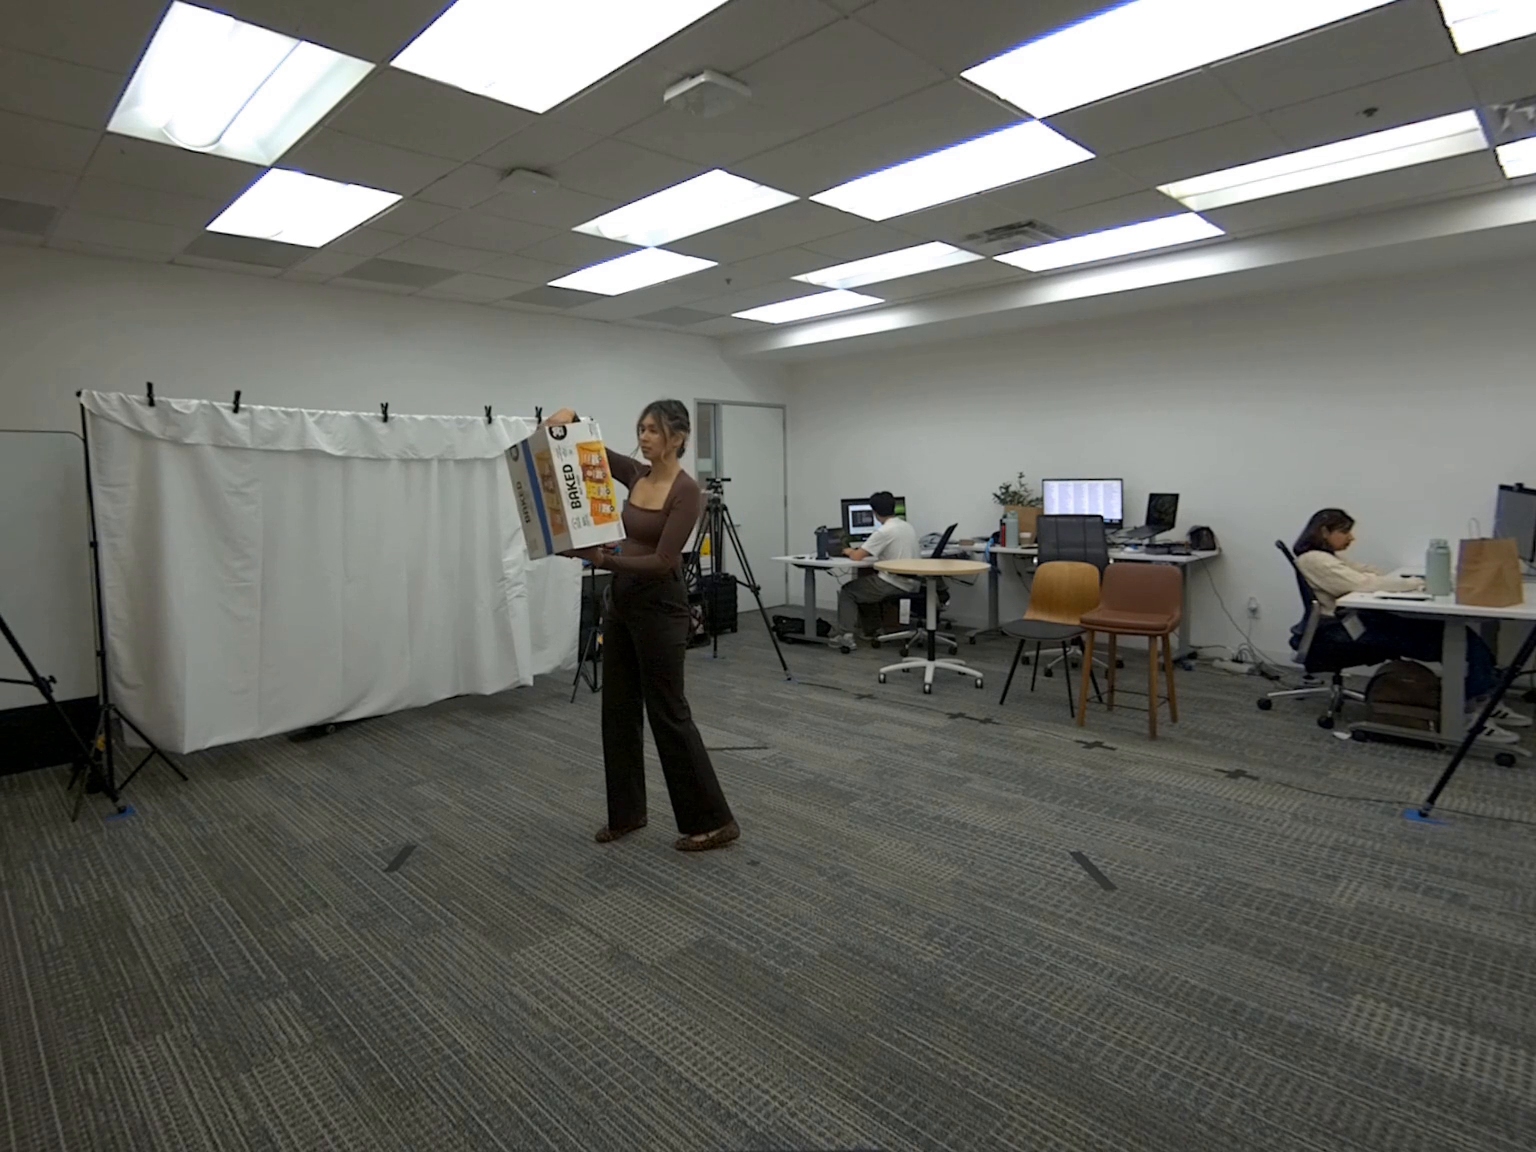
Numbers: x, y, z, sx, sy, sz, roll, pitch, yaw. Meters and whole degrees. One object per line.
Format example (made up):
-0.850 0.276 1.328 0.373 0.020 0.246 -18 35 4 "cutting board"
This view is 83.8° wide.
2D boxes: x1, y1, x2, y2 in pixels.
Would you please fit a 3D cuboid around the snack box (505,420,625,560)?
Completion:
-0.691 -0.286 2.922 0.201 0.405 0.348 -14 1 -39 "snack box"
